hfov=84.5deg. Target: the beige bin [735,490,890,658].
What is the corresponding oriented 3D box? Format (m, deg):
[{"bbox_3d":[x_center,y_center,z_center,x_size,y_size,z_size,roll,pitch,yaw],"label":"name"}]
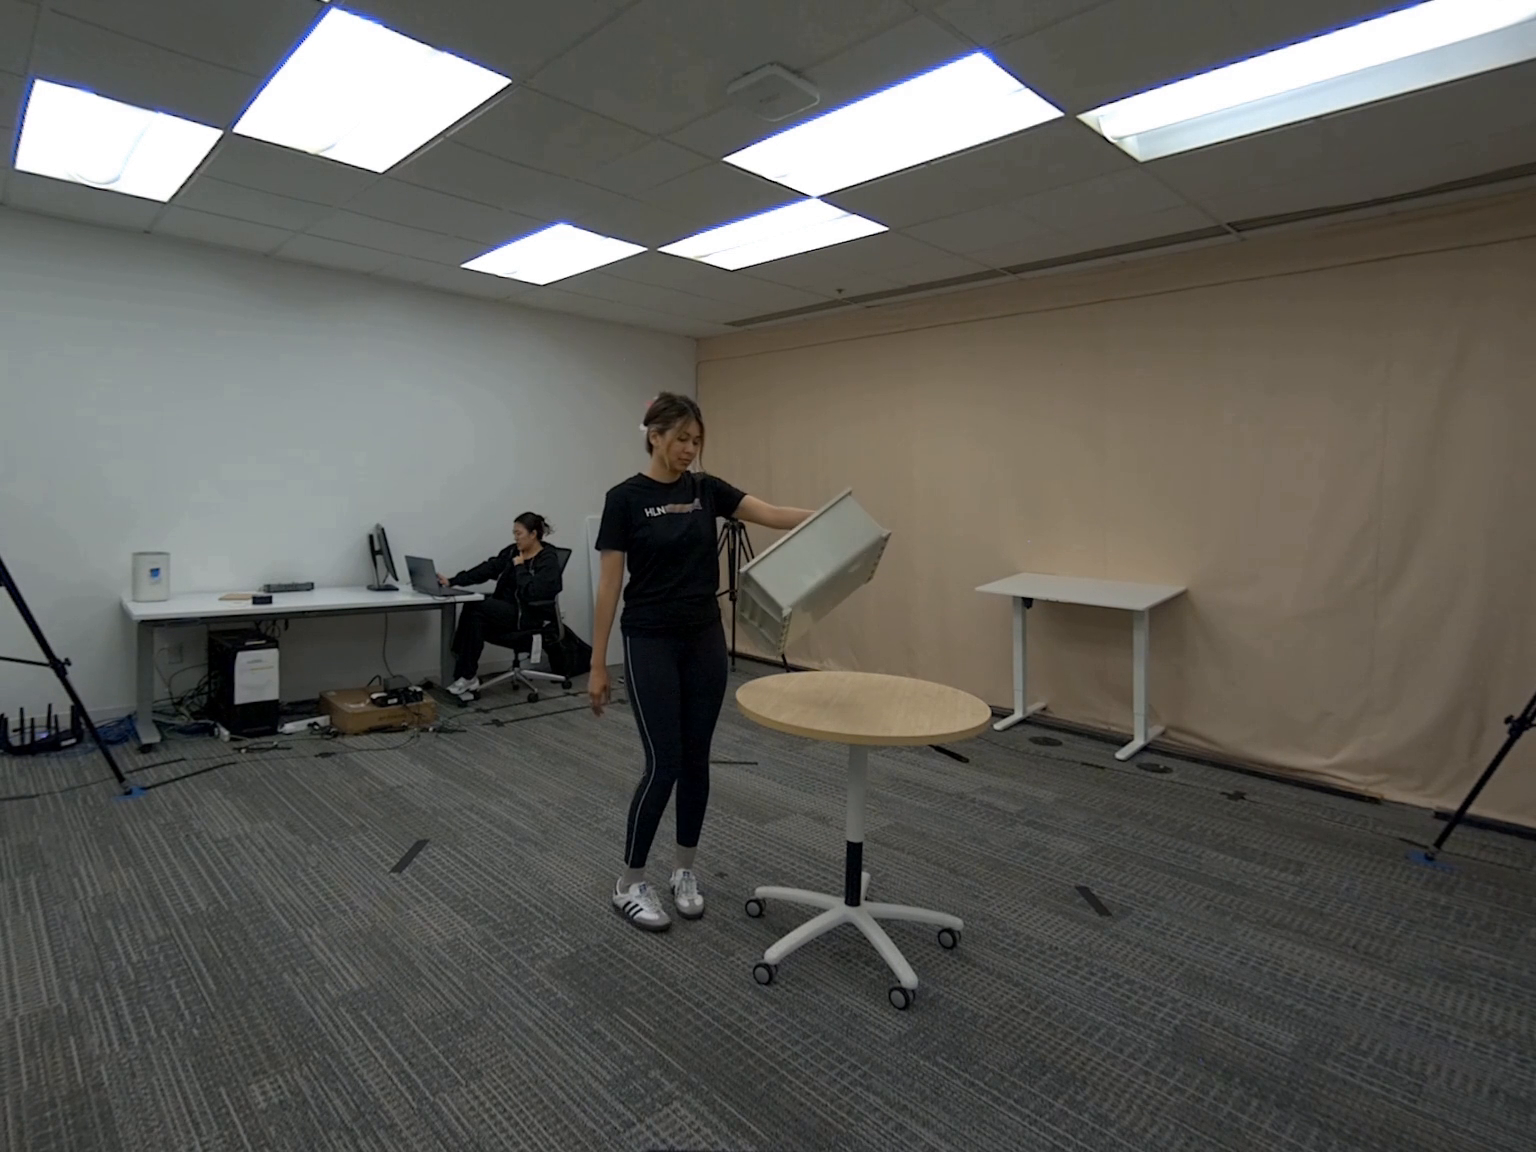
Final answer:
[{"bbox_3d":[0.120,0.012,2.480,0.421,0.193,0.371,-37,-19,-19],"label":"beige bin"}]
